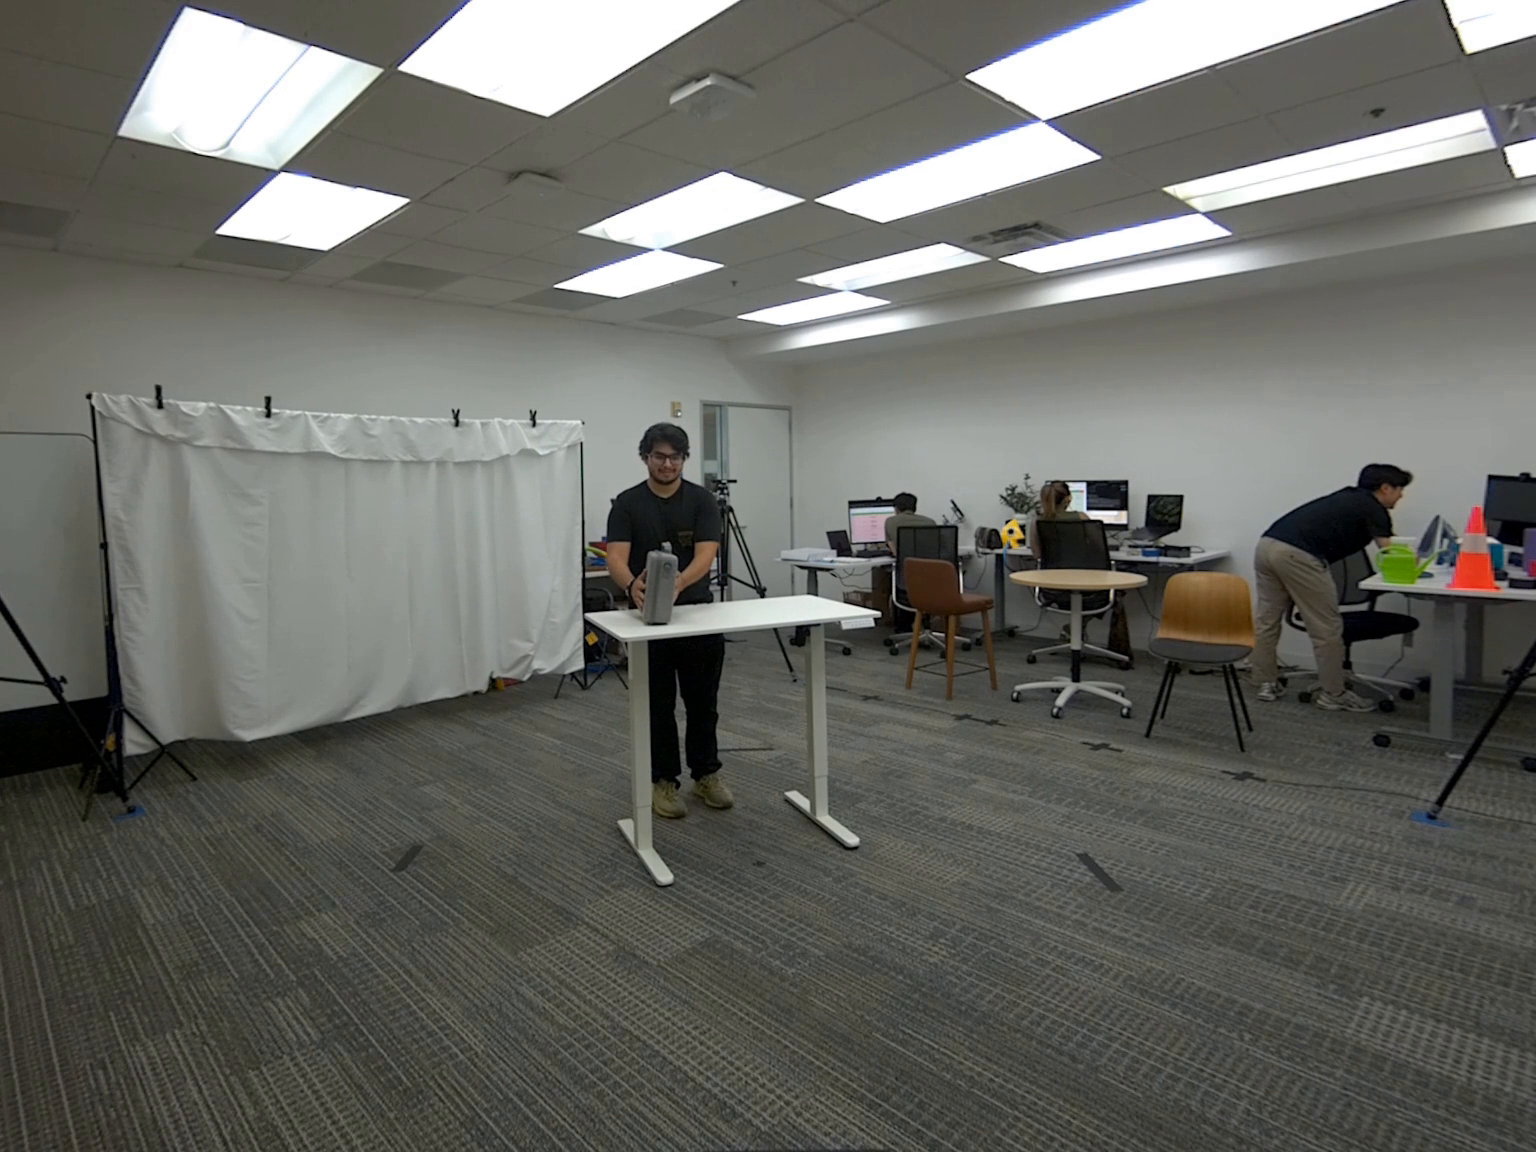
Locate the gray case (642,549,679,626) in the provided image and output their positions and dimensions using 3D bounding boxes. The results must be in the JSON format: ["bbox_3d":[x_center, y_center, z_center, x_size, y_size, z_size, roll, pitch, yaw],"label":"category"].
[{"bbox_3d":[-0.410,0.037,3.176,0.104,0.260,0.258,6,3,-5],"label":"gray case"}]
